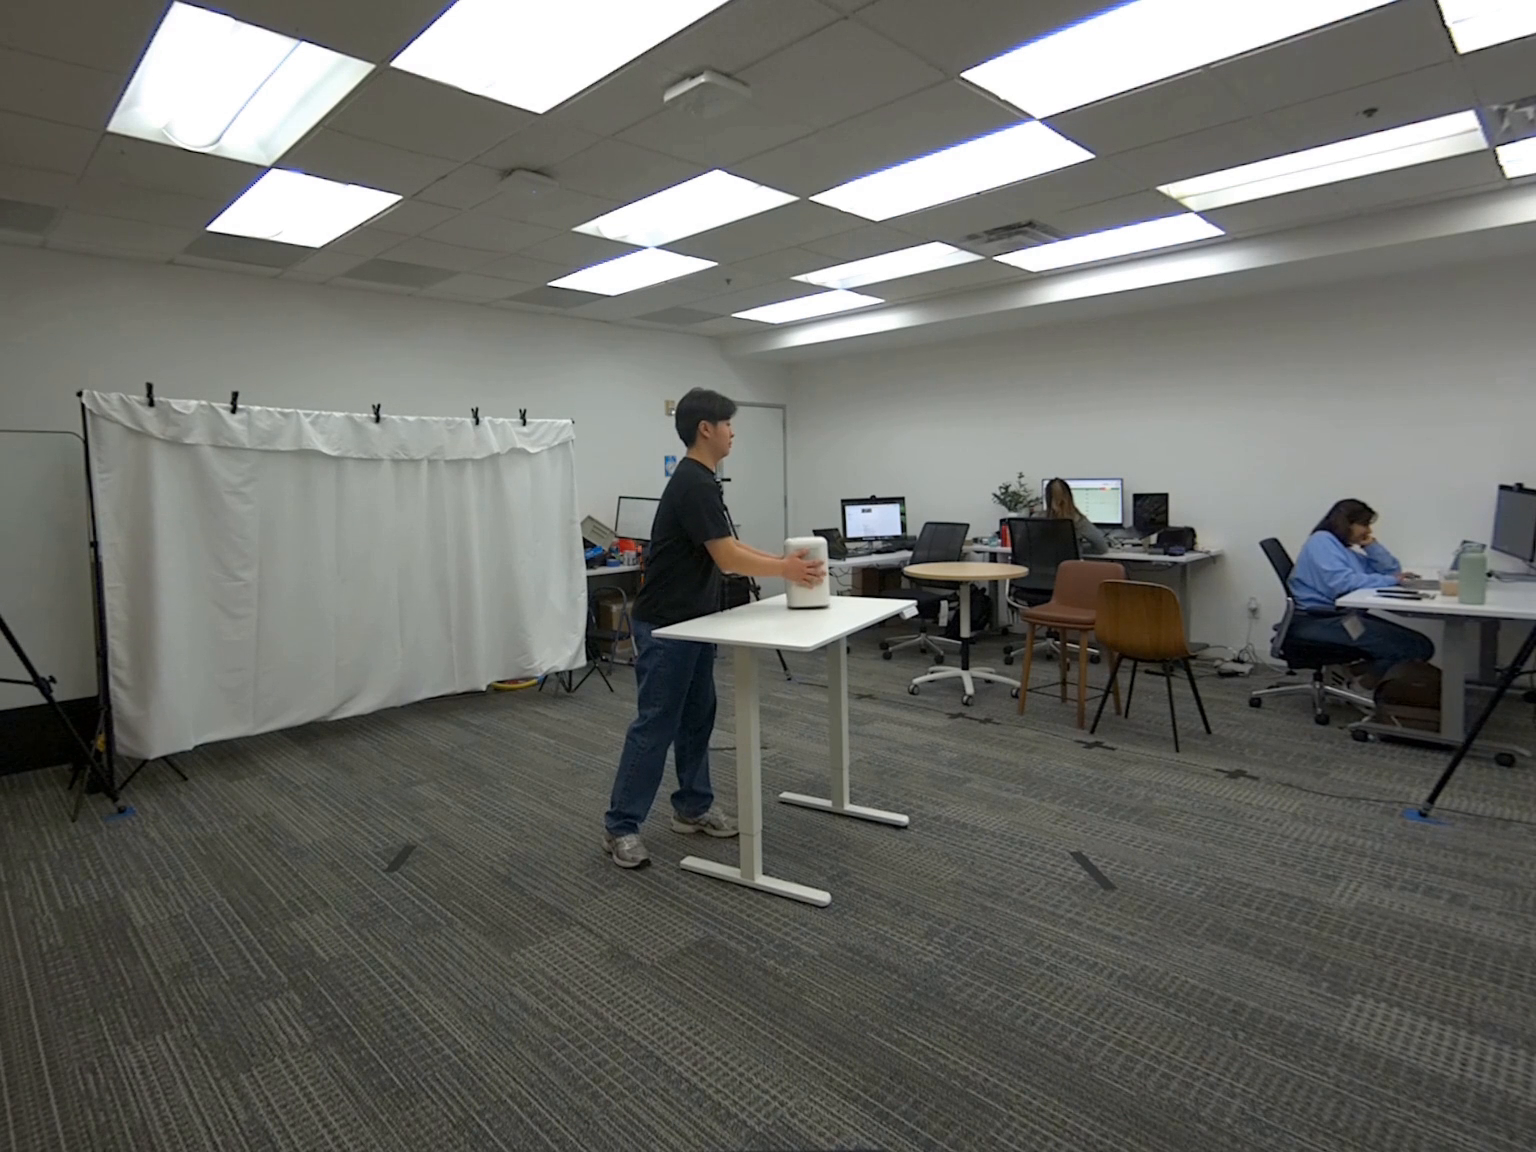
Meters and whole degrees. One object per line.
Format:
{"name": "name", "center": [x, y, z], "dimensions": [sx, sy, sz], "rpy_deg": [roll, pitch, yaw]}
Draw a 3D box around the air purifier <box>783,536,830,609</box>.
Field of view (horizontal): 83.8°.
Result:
{"name": "air purifier", "center": [0.150, -0.019, 3.371], "dimensions": [0.172, 0.264, 0.171], "rpy_deg": [-4, 4, 2]}
